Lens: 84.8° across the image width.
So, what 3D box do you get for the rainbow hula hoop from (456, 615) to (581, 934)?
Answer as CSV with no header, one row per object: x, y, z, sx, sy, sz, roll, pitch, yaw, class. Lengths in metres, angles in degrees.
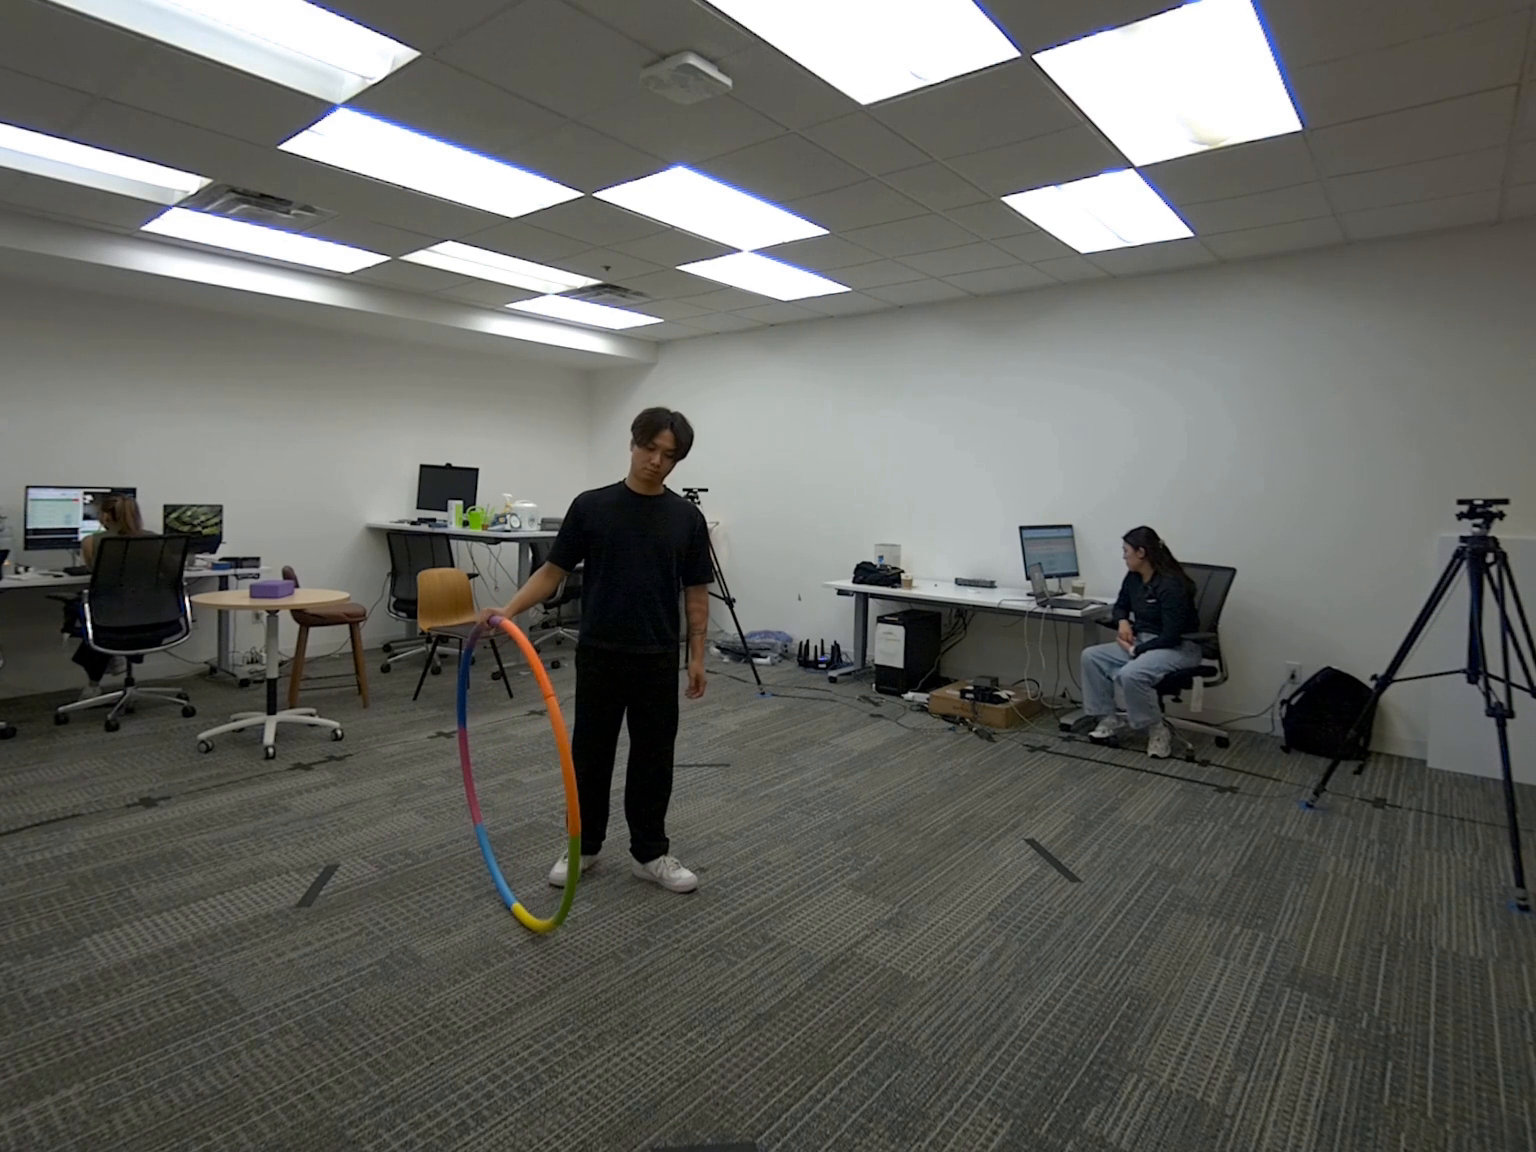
-0.817,0.611,2.700,0.034,0.974,1.011,-5,6,-36,rainbow hula hoop
